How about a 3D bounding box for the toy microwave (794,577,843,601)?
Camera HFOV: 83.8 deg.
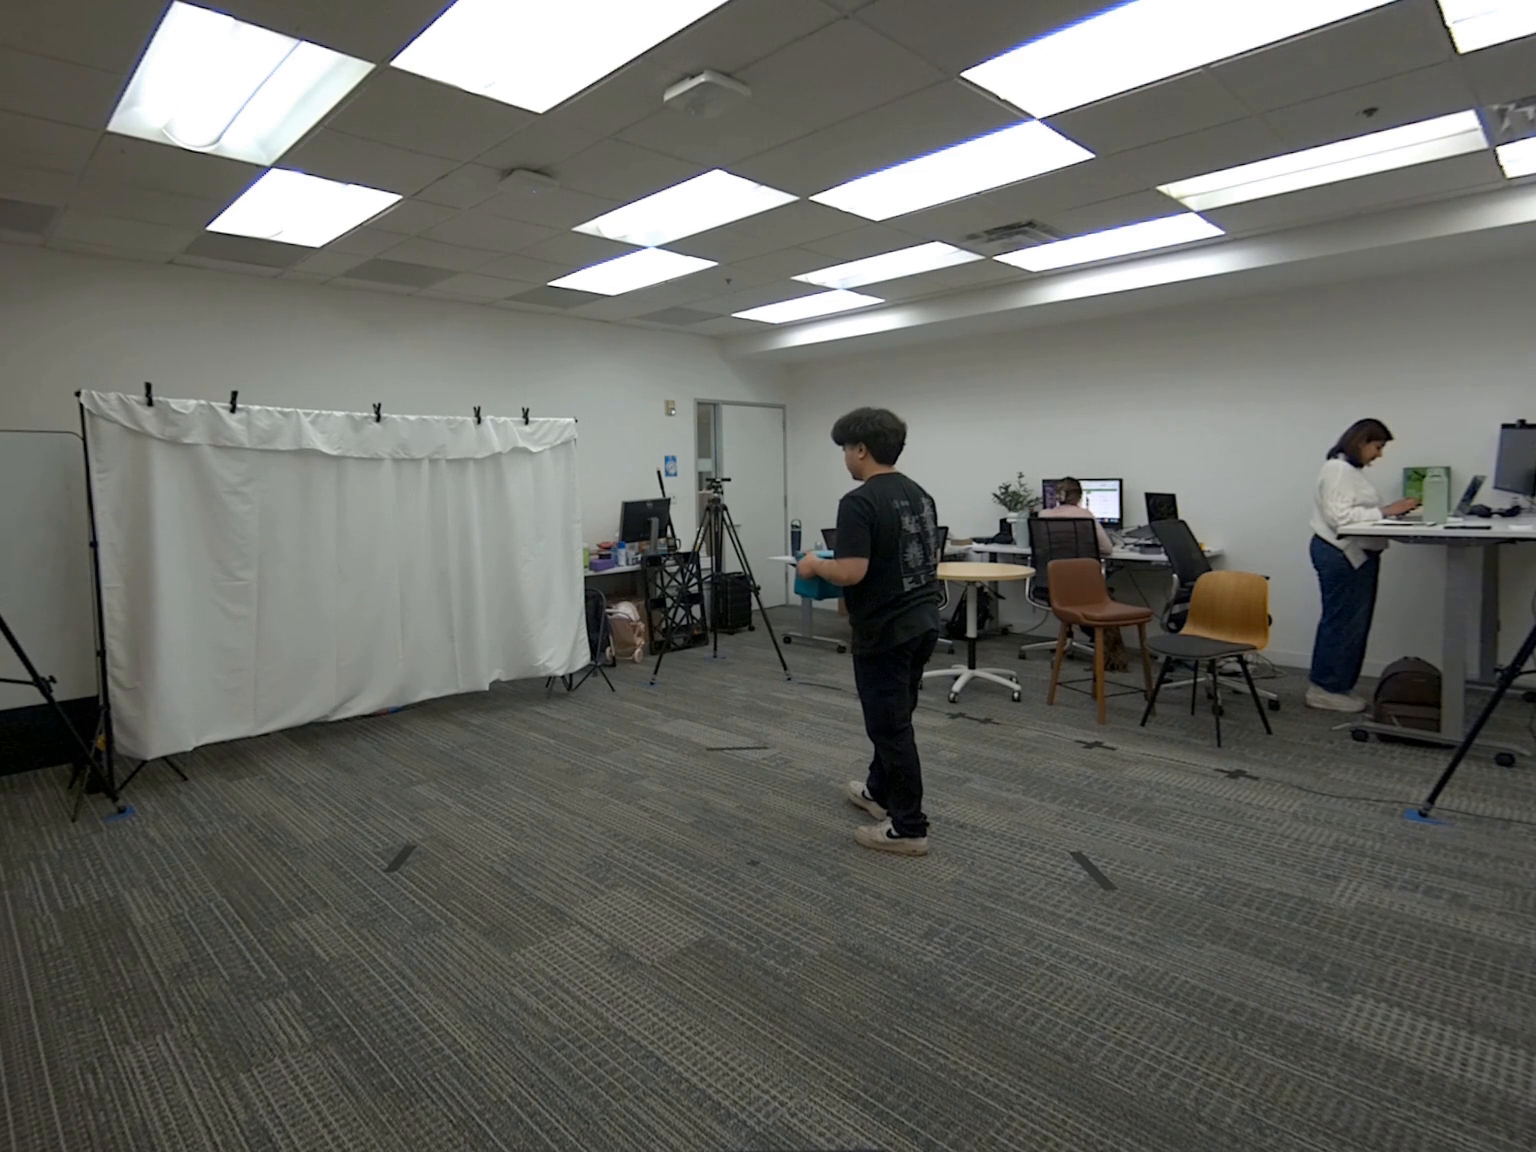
[{"bbox_3d":[0.252,-0.009,3.472,0.157,0.183,0.278,10,9,43],"label":"toy microwave"}]
